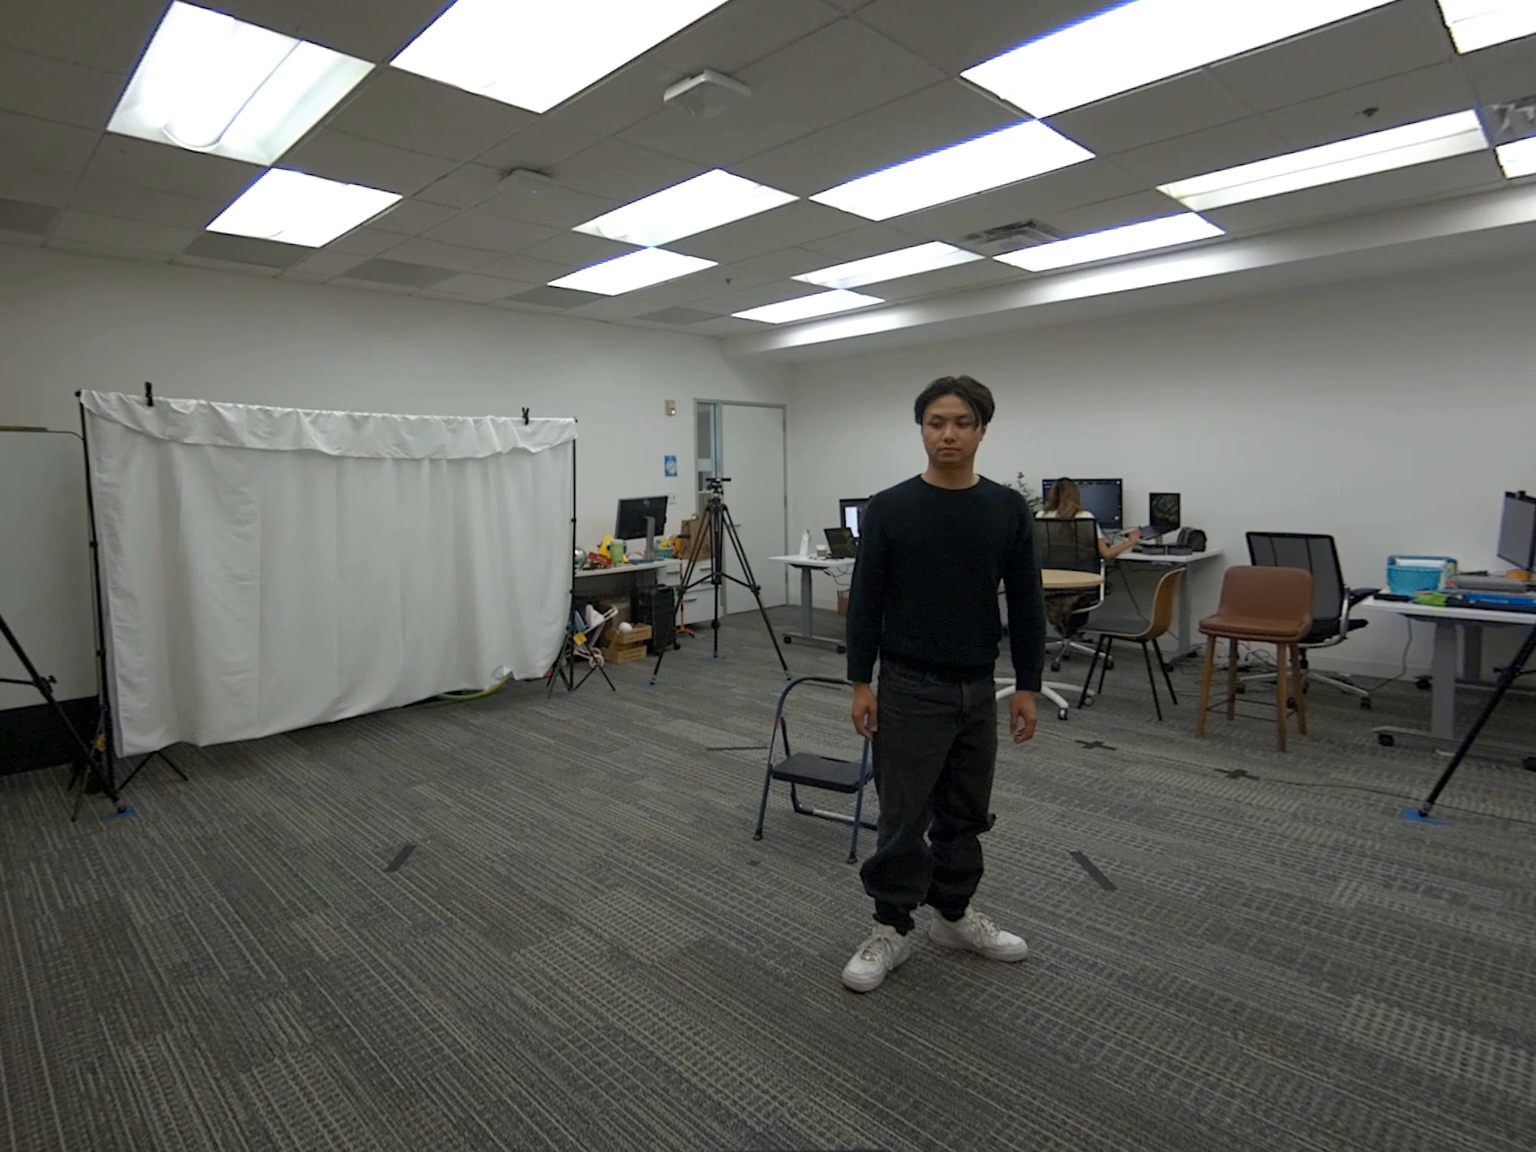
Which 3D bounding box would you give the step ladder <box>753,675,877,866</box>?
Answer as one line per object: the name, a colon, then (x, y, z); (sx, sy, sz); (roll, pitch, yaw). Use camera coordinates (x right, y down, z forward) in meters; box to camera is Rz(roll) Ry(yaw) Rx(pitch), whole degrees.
step ladder: (0.207, 0.710, 3.319); (0.442, 0.604, 0.341); (2, 5, 32)
